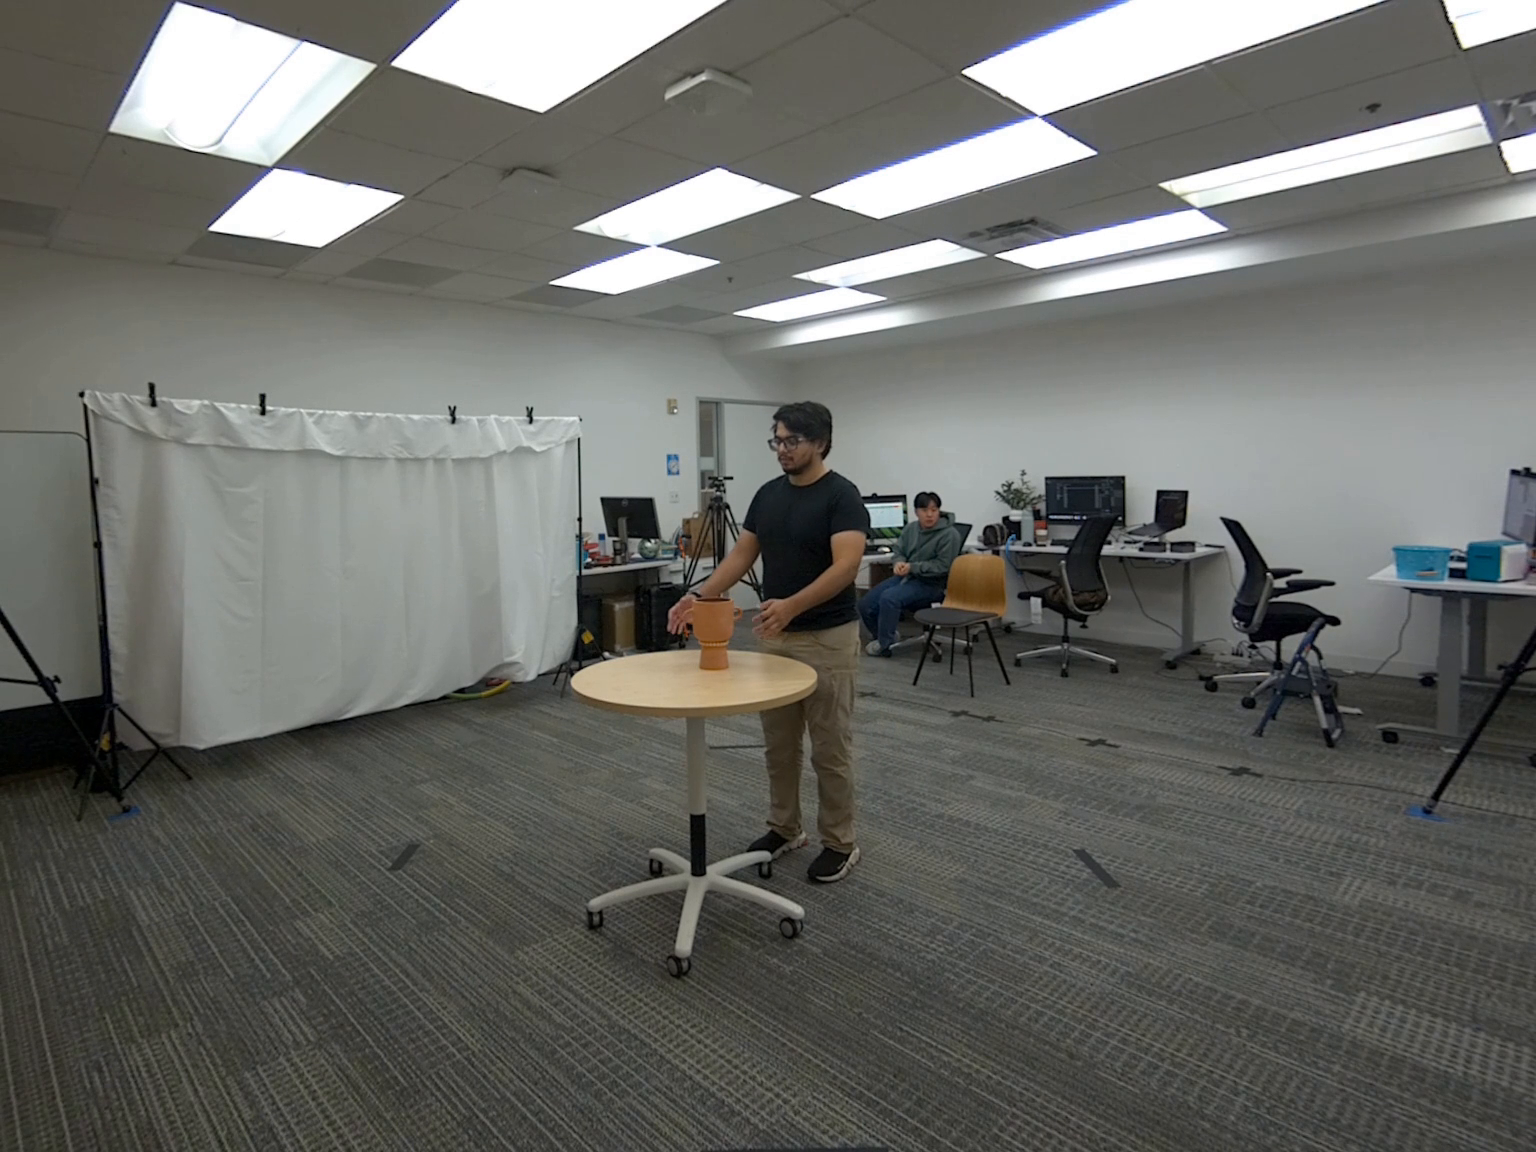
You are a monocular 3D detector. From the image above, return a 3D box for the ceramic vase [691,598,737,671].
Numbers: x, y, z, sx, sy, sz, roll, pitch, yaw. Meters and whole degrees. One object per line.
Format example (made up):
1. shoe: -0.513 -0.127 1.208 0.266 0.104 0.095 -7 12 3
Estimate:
1. ceramic vase: -0.174 0.190 2.775 0.162 0.219 0.132 0 2 22
